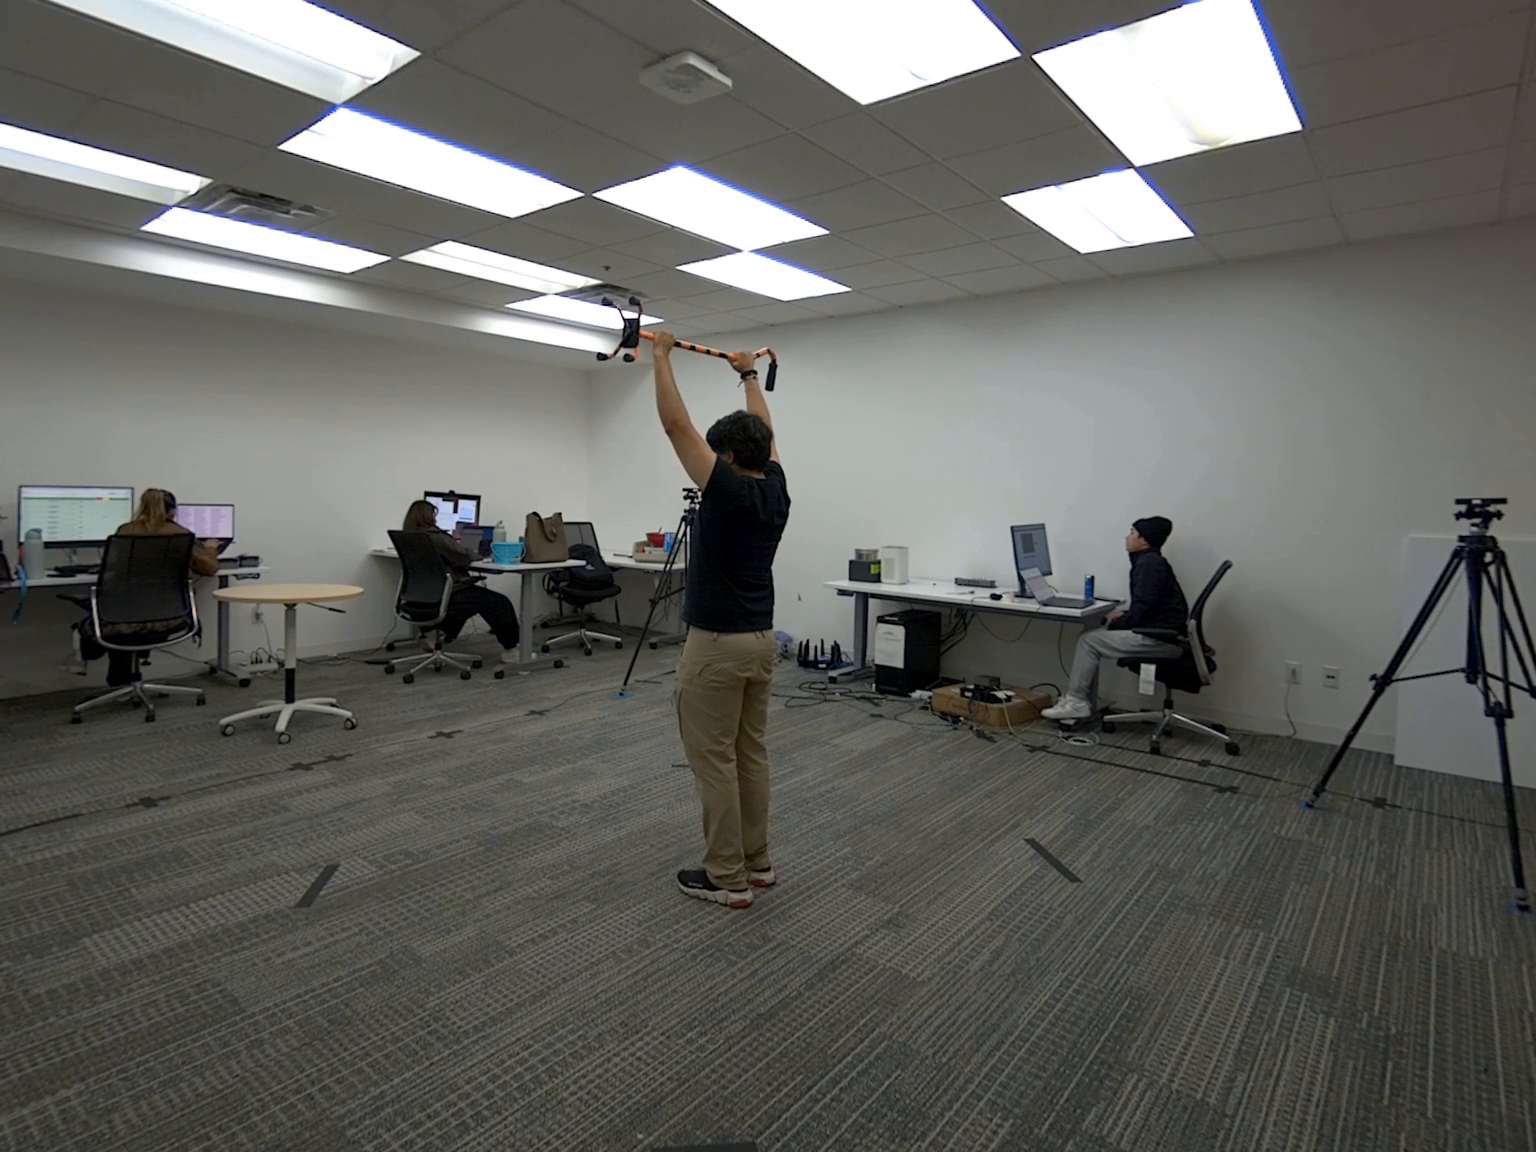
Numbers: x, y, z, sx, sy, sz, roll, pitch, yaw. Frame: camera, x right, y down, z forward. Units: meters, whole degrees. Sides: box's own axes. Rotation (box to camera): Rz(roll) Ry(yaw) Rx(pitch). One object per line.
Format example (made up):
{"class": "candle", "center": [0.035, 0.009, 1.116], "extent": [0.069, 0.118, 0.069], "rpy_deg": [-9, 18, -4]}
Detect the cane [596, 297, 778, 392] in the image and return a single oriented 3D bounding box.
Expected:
{"class": "cane", "center": [-0.249, -0.818, 3.083], "extent": [0.157, 0.205, 0.882], "rpy_deg": [13, 11, 34]}
